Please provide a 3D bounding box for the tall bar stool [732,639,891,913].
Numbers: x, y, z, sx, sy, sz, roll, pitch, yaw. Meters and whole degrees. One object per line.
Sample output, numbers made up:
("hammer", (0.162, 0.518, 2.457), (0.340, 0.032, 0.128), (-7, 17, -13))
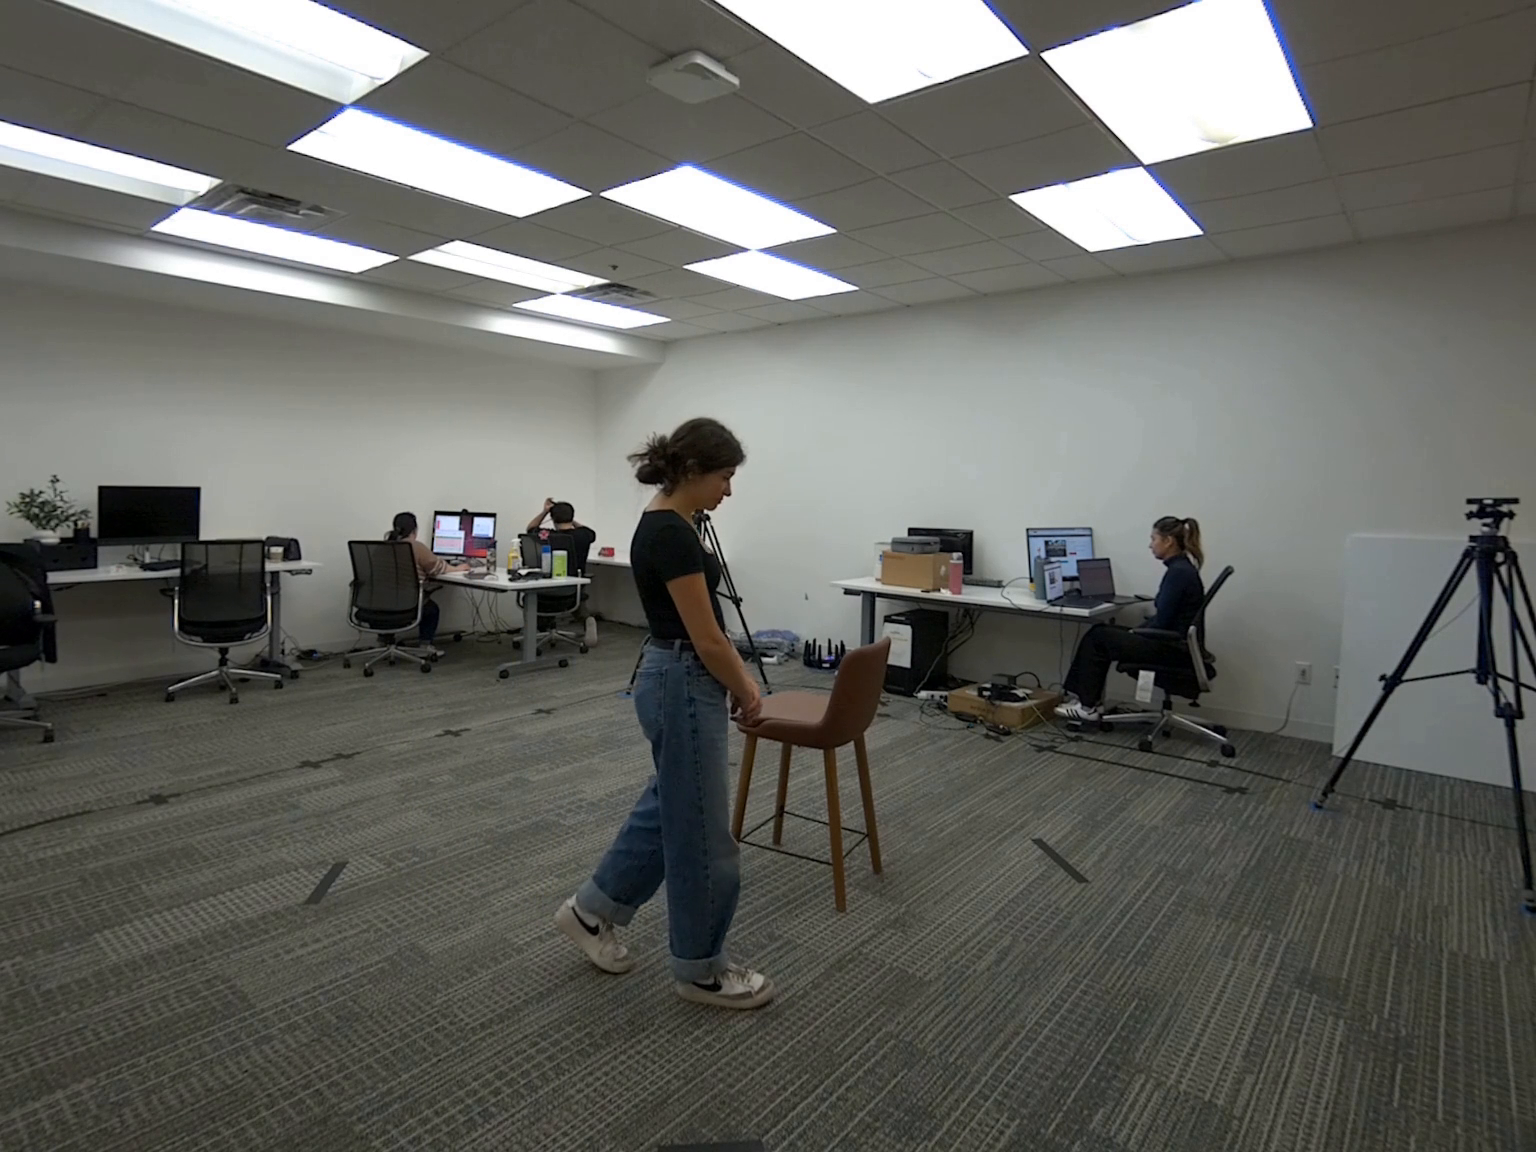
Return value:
("tall bar stool", (0.145, 0.646, 3.050), (0.482, 0.887, 0.444), (5, 5, 30))
